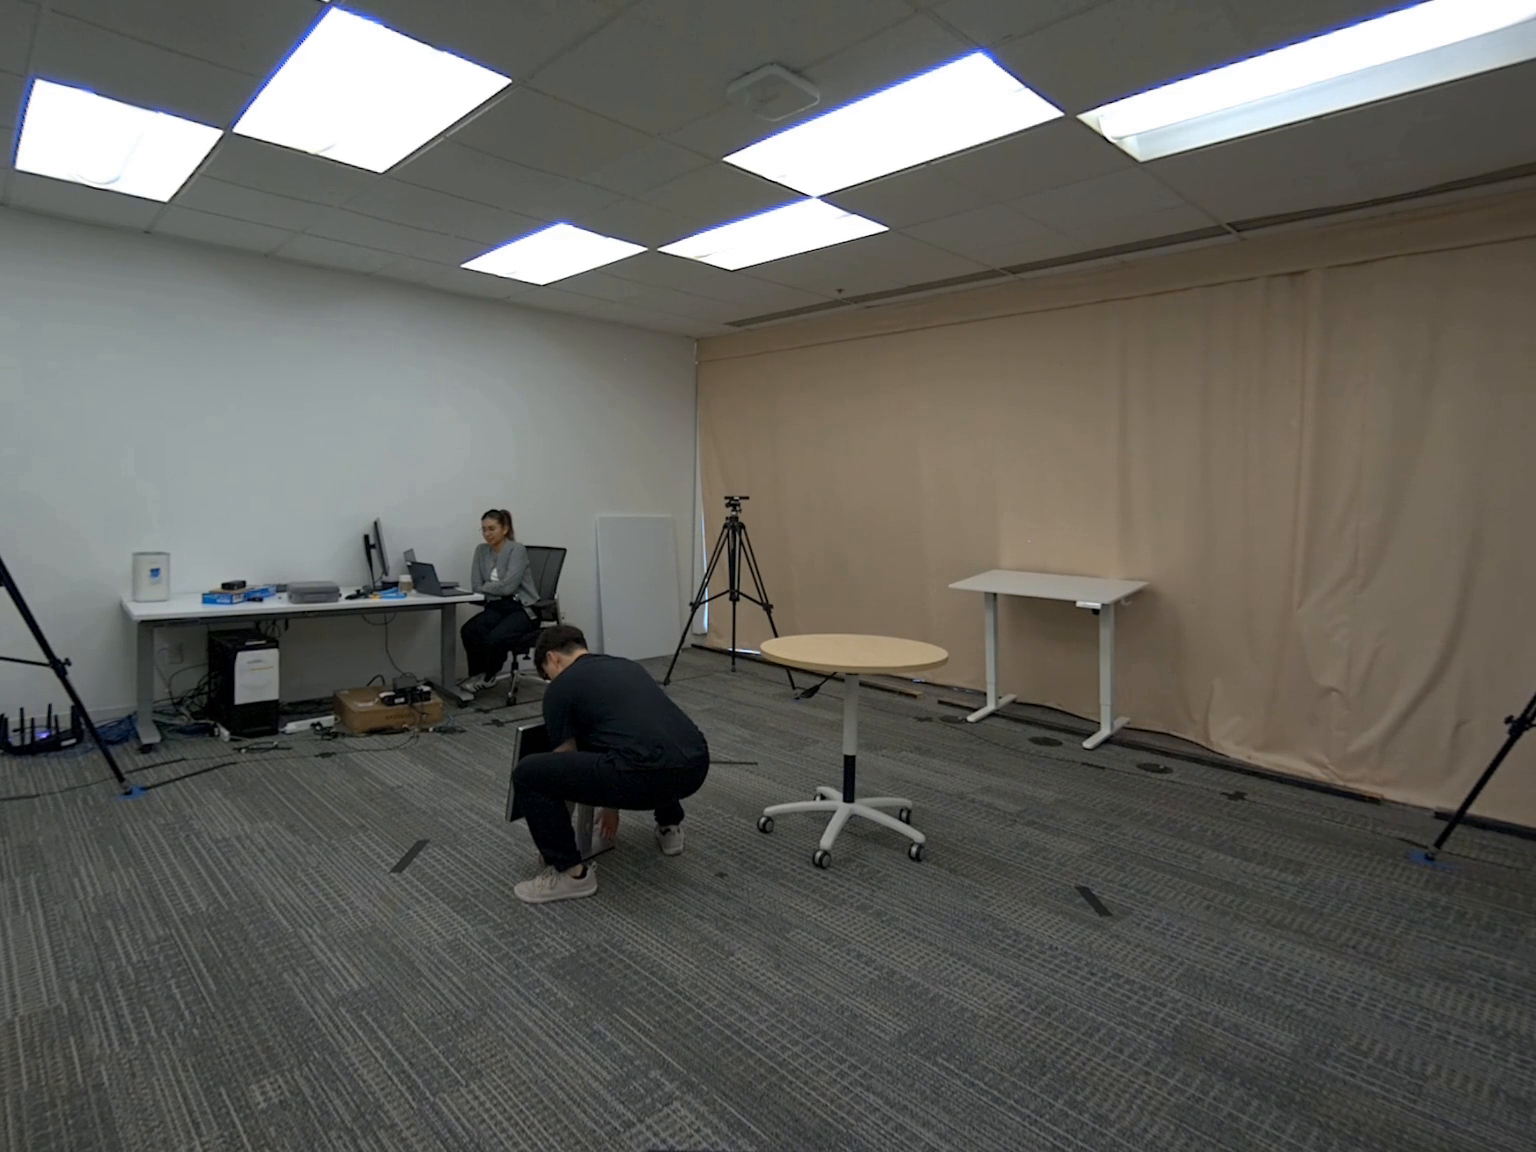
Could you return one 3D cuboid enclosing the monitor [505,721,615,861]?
[{"bbox_3d":[-0.754,0.812,3.273,0.191,0.522,0.528,-1,1,32],"label":"monitor"}]
